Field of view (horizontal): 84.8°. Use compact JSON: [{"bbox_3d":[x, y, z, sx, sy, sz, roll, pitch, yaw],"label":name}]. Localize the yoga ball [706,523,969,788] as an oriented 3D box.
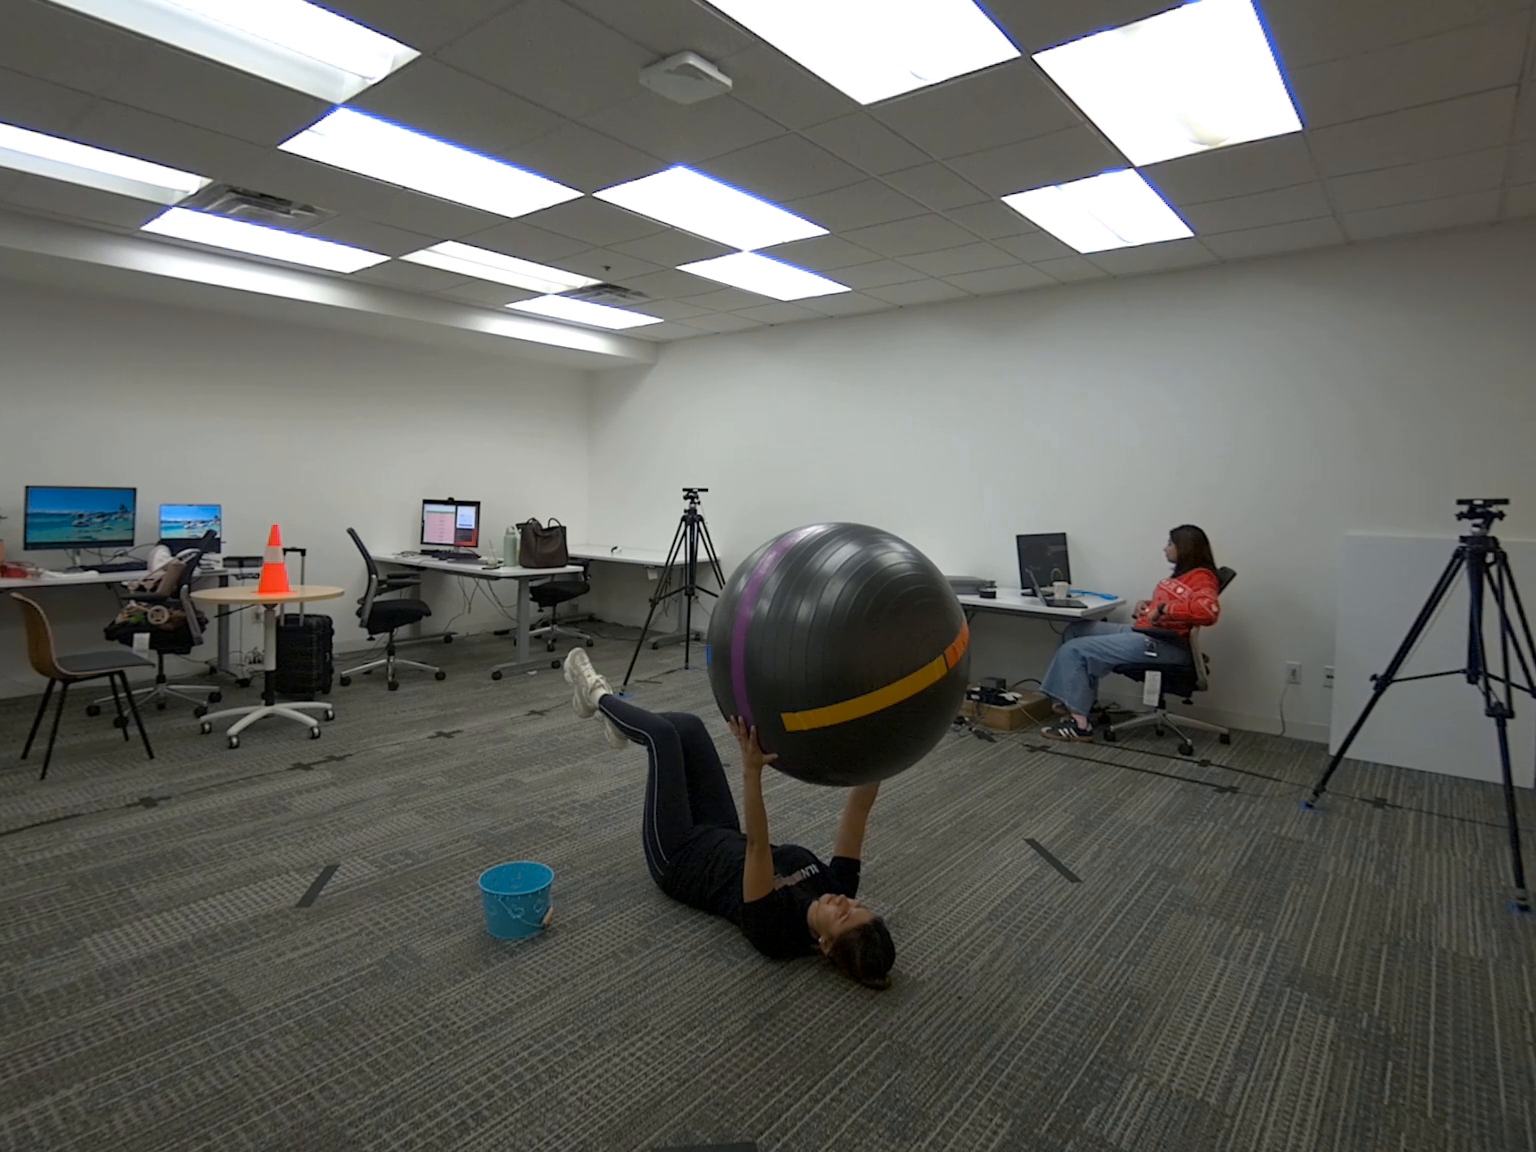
[{"bbox_3d":[0.194,0.223,2.477,0.757,0.756,0.761,-3,3,-2],"label":"yoga ball"}]
